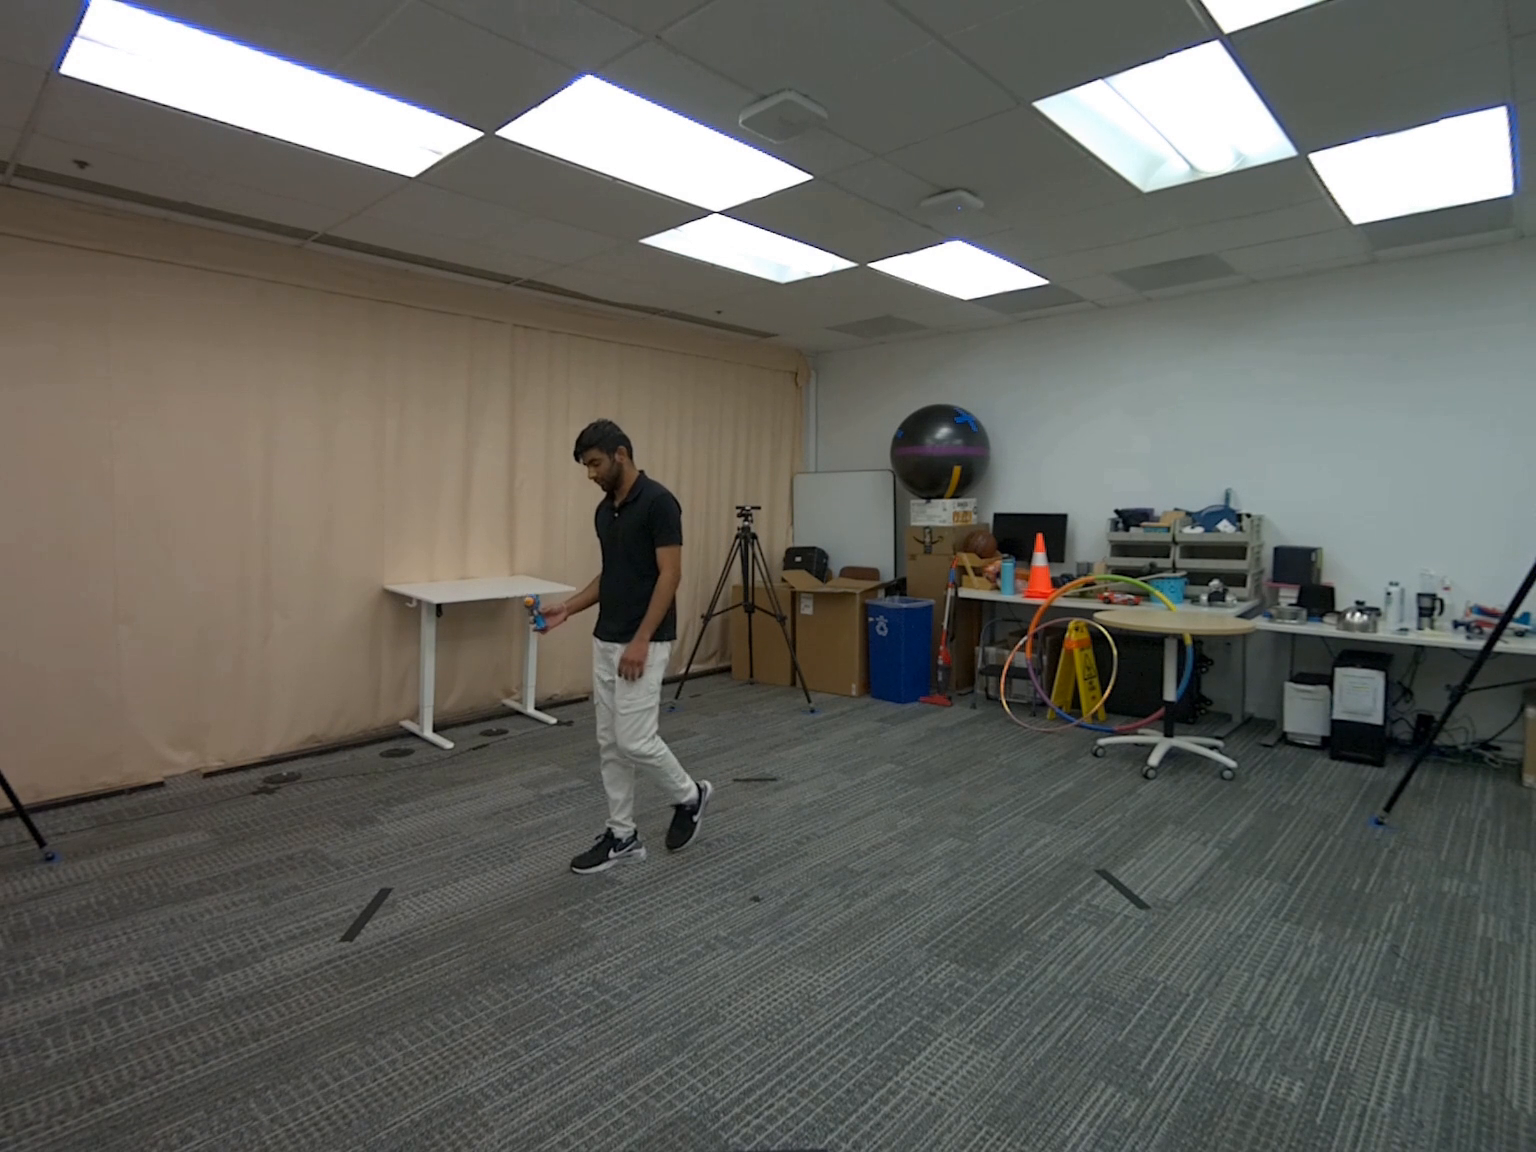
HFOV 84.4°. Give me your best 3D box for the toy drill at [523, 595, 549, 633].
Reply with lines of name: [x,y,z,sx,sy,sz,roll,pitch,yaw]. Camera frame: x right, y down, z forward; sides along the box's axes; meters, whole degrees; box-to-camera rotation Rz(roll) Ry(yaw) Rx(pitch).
toy drill: [-0.898,0.135,3.256,0.061,0.147,0.170,-19,-4,-8]
